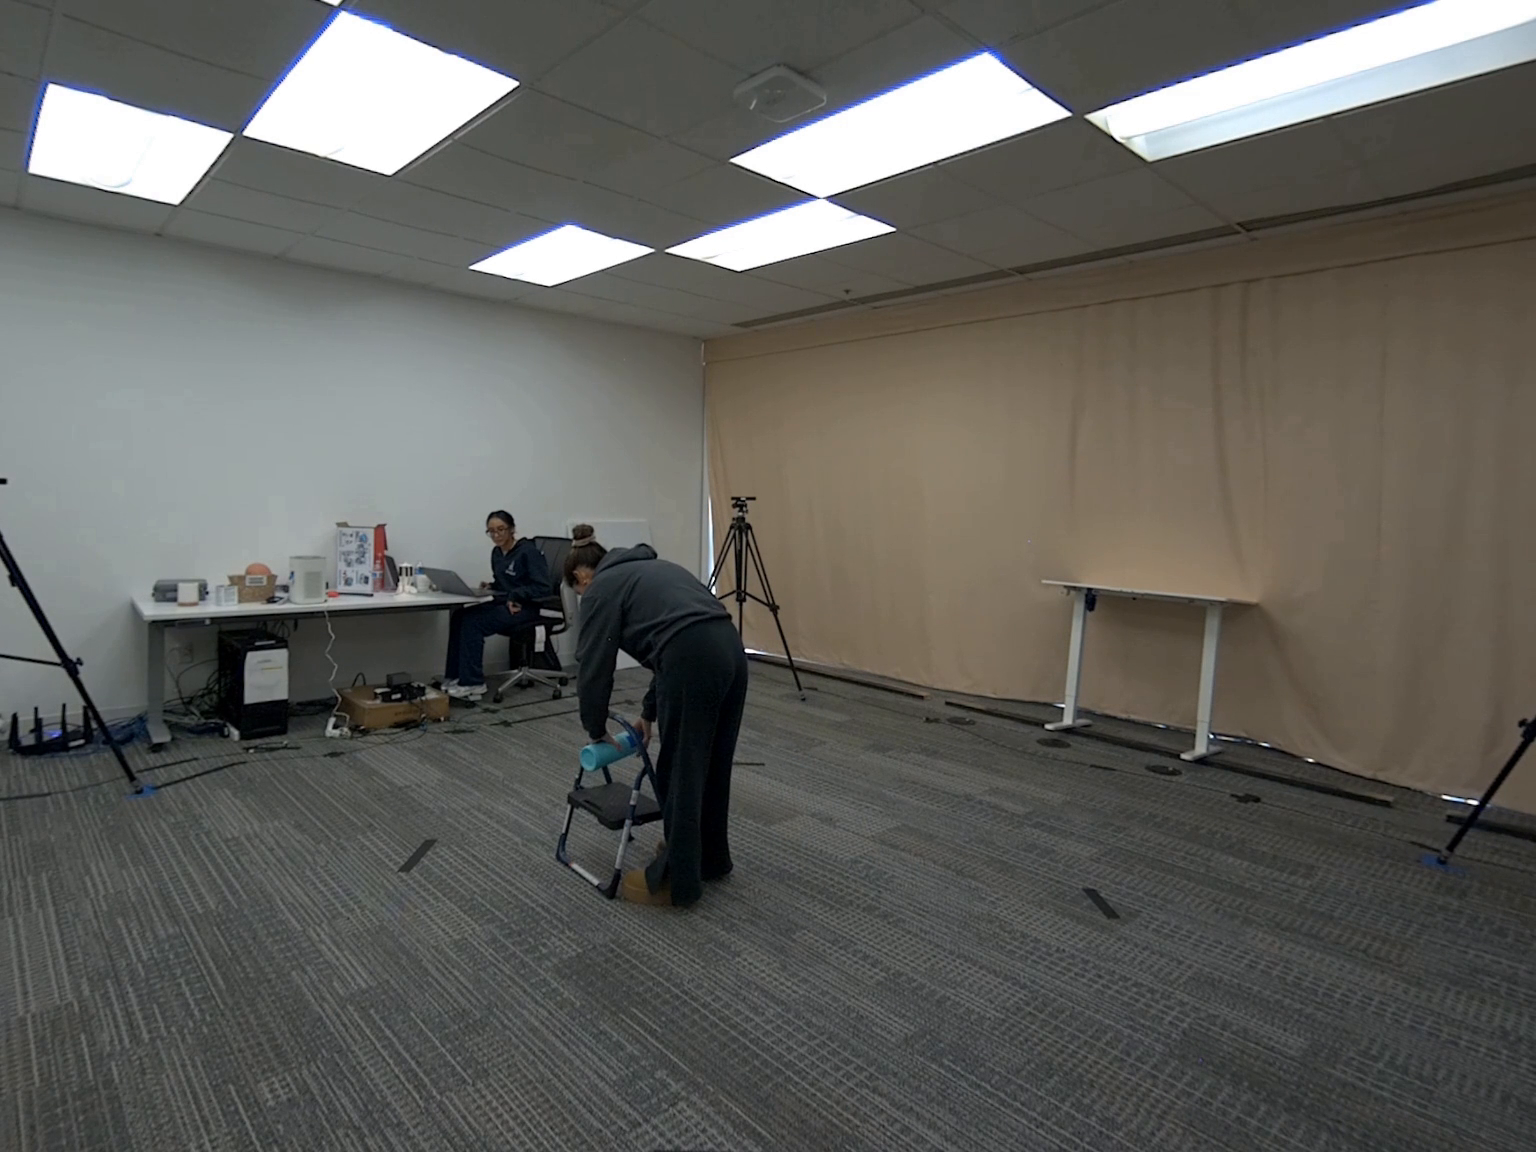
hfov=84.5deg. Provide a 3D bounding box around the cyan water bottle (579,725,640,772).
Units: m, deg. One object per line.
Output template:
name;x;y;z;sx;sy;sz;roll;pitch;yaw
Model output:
cyan water bottle;-0.566;0.636;3.091;0.094;0.092;0.278;5;8;34
